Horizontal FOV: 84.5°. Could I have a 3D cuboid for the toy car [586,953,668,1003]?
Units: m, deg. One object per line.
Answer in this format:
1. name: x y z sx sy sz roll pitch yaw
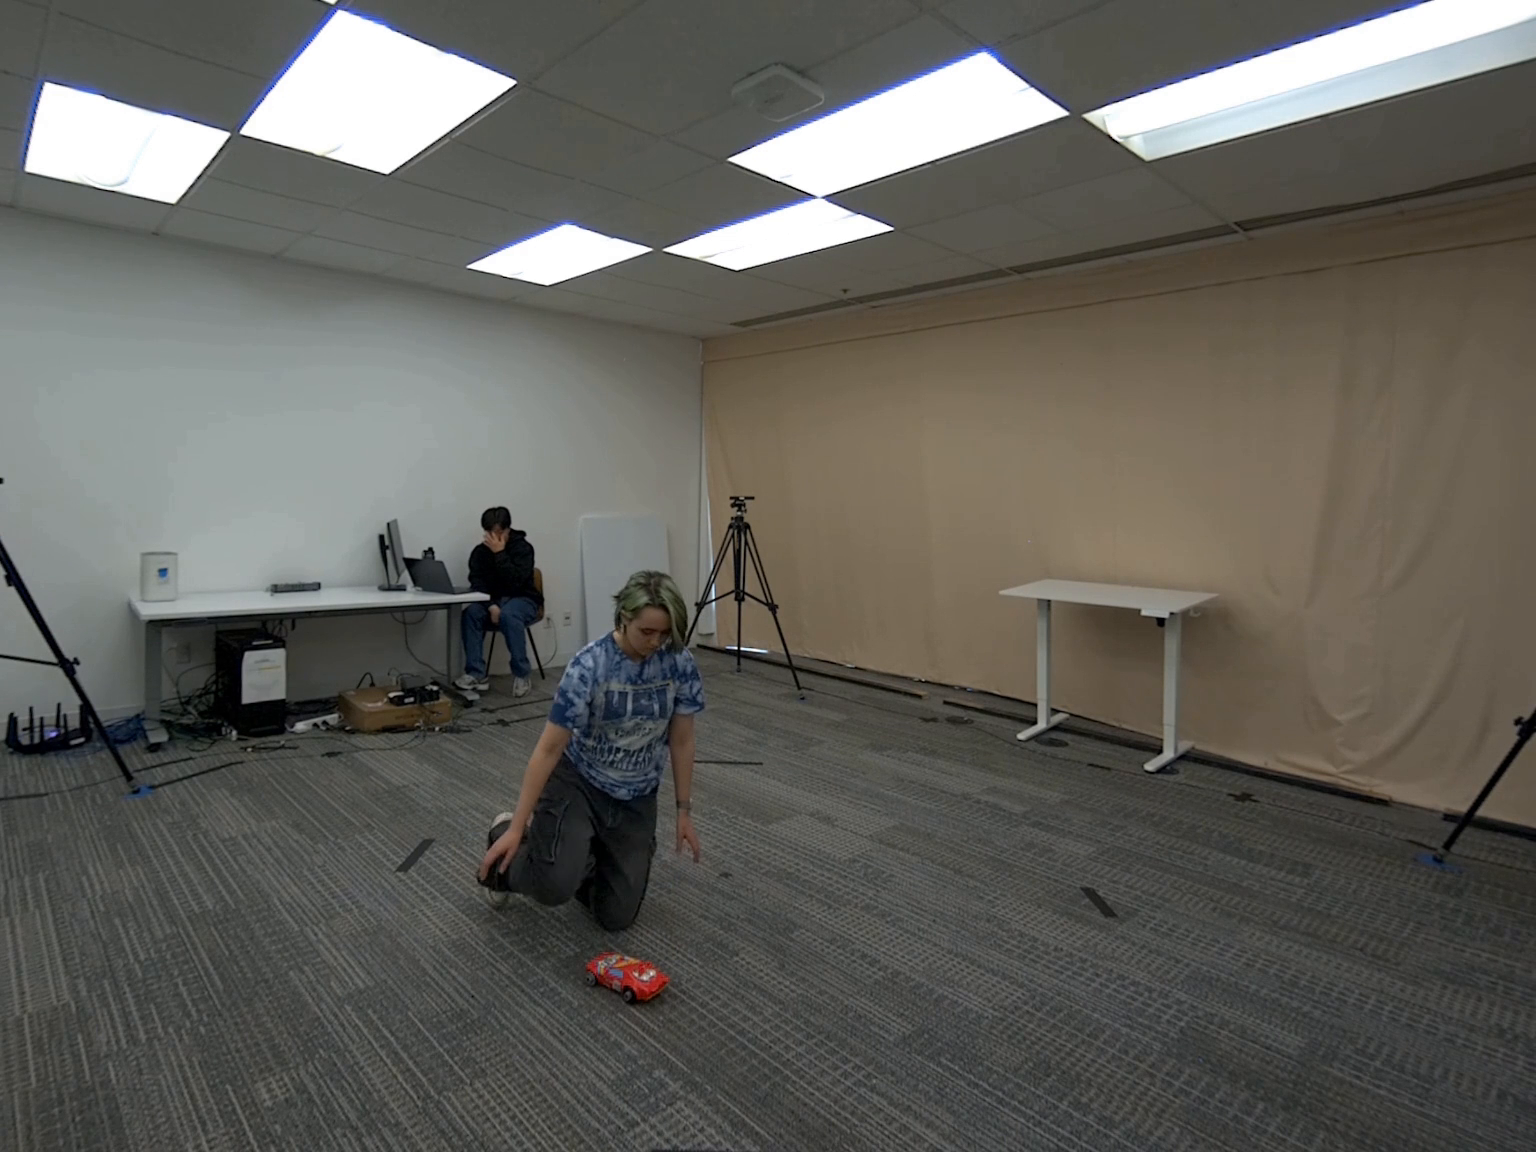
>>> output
1. toy car: -0.399 1.141 2.362 0.259 0.083 0.128 -9 1 35
